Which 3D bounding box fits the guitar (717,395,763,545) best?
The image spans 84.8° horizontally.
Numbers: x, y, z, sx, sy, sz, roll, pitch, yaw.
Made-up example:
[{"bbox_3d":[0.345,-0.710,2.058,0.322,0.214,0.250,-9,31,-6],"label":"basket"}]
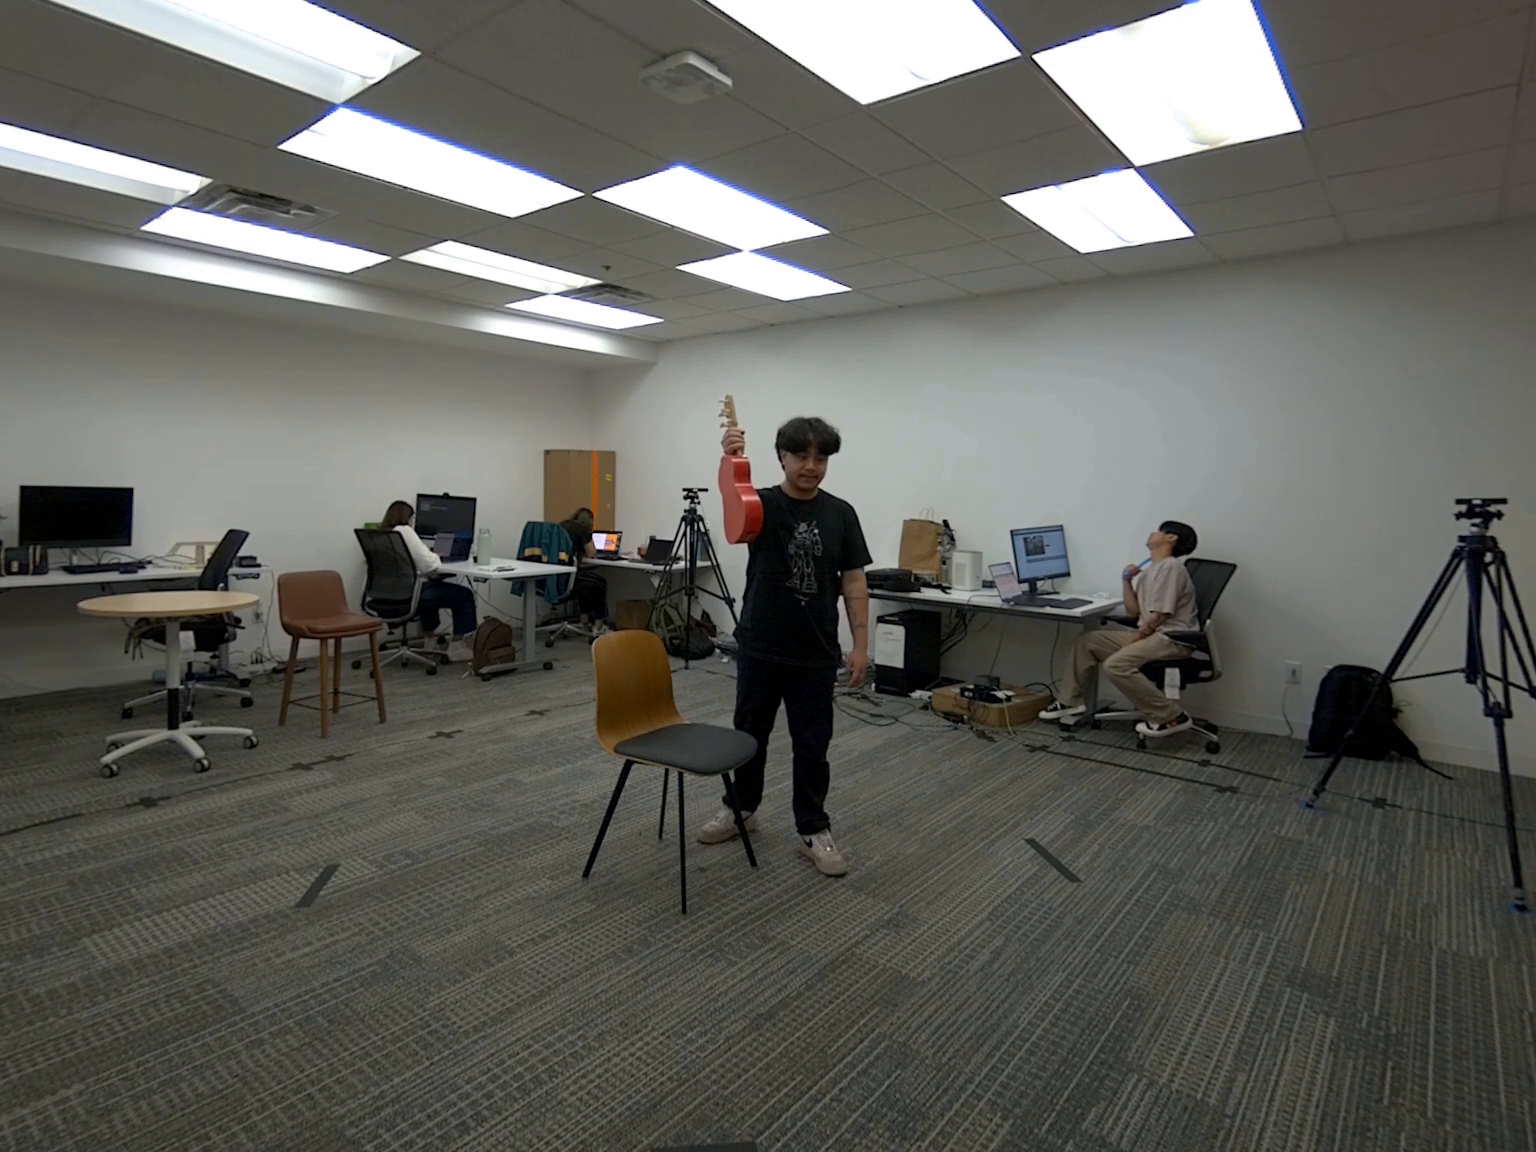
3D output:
[{"bbox_3d":[-0.119,-0.333,2.674,0.070,0.512,0.190,-3,-29,-16],"label":"guitar"}]
